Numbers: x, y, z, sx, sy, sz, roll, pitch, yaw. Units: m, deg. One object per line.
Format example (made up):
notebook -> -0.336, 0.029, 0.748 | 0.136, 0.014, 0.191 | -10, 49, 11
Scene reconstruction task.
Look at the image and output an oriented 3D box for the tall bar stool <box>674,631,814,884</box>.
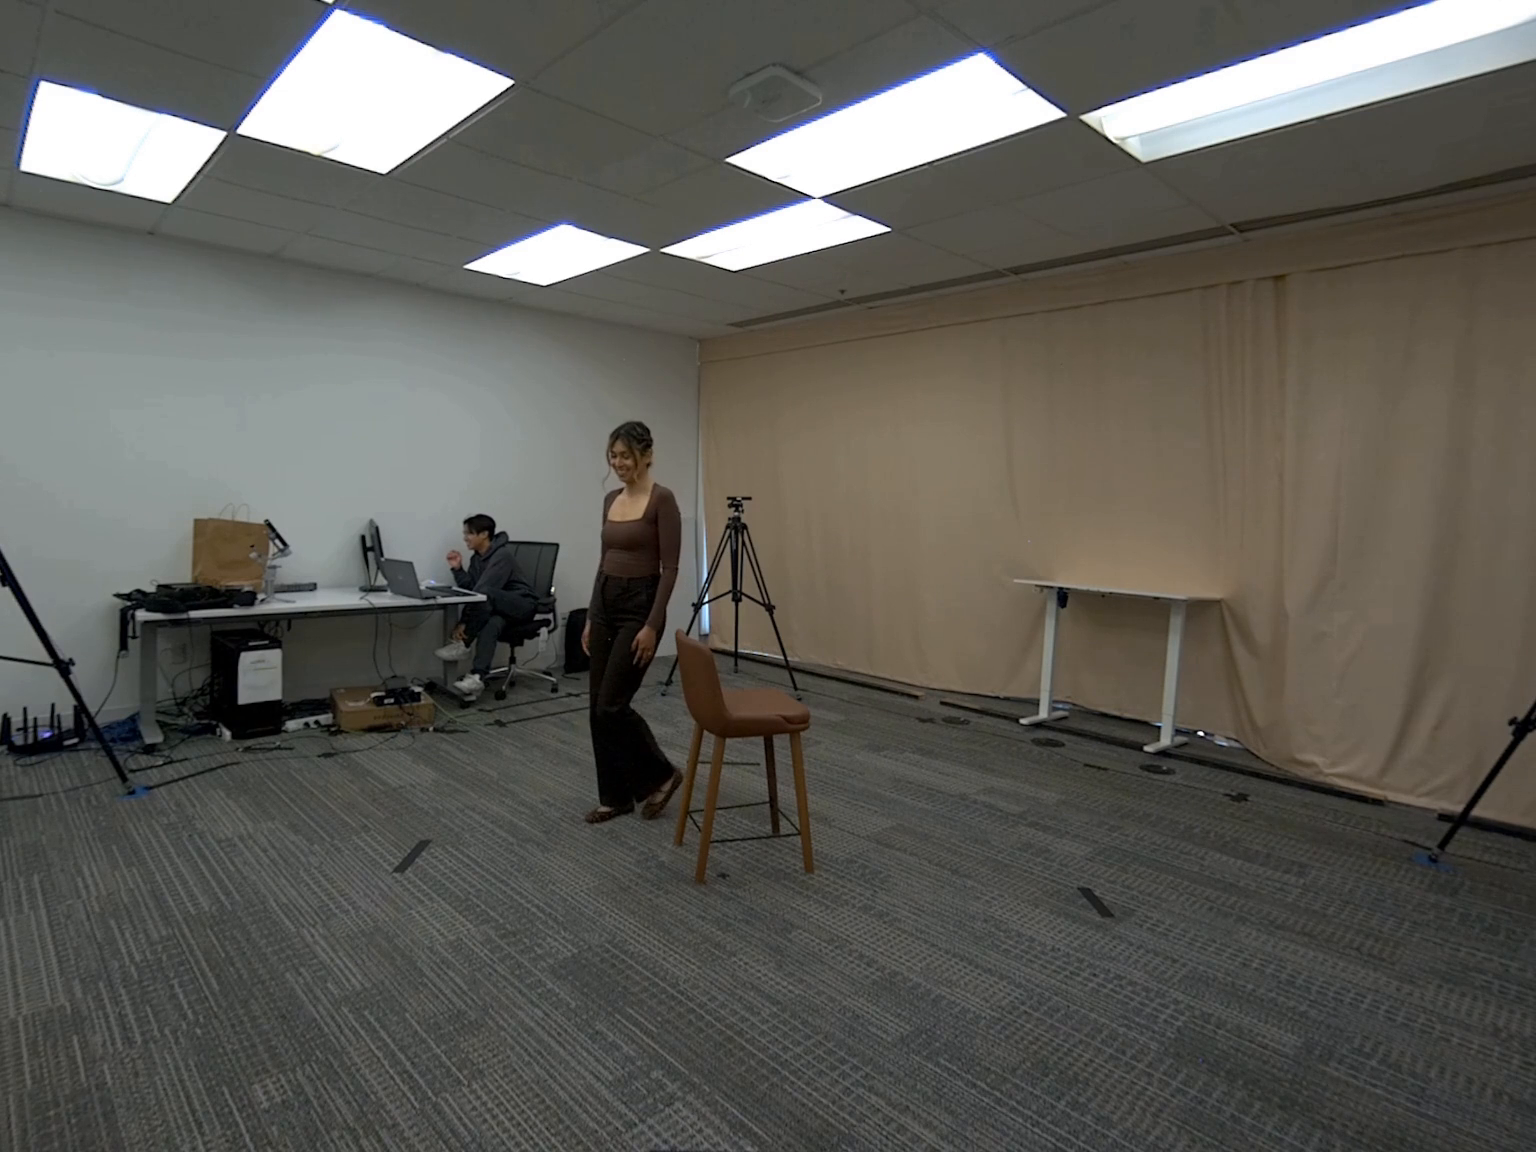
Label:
tall bar stool -> -0.107, 0.661, 3.246 | 0.461, 0.887, 0.464 | -1, 4, -18
